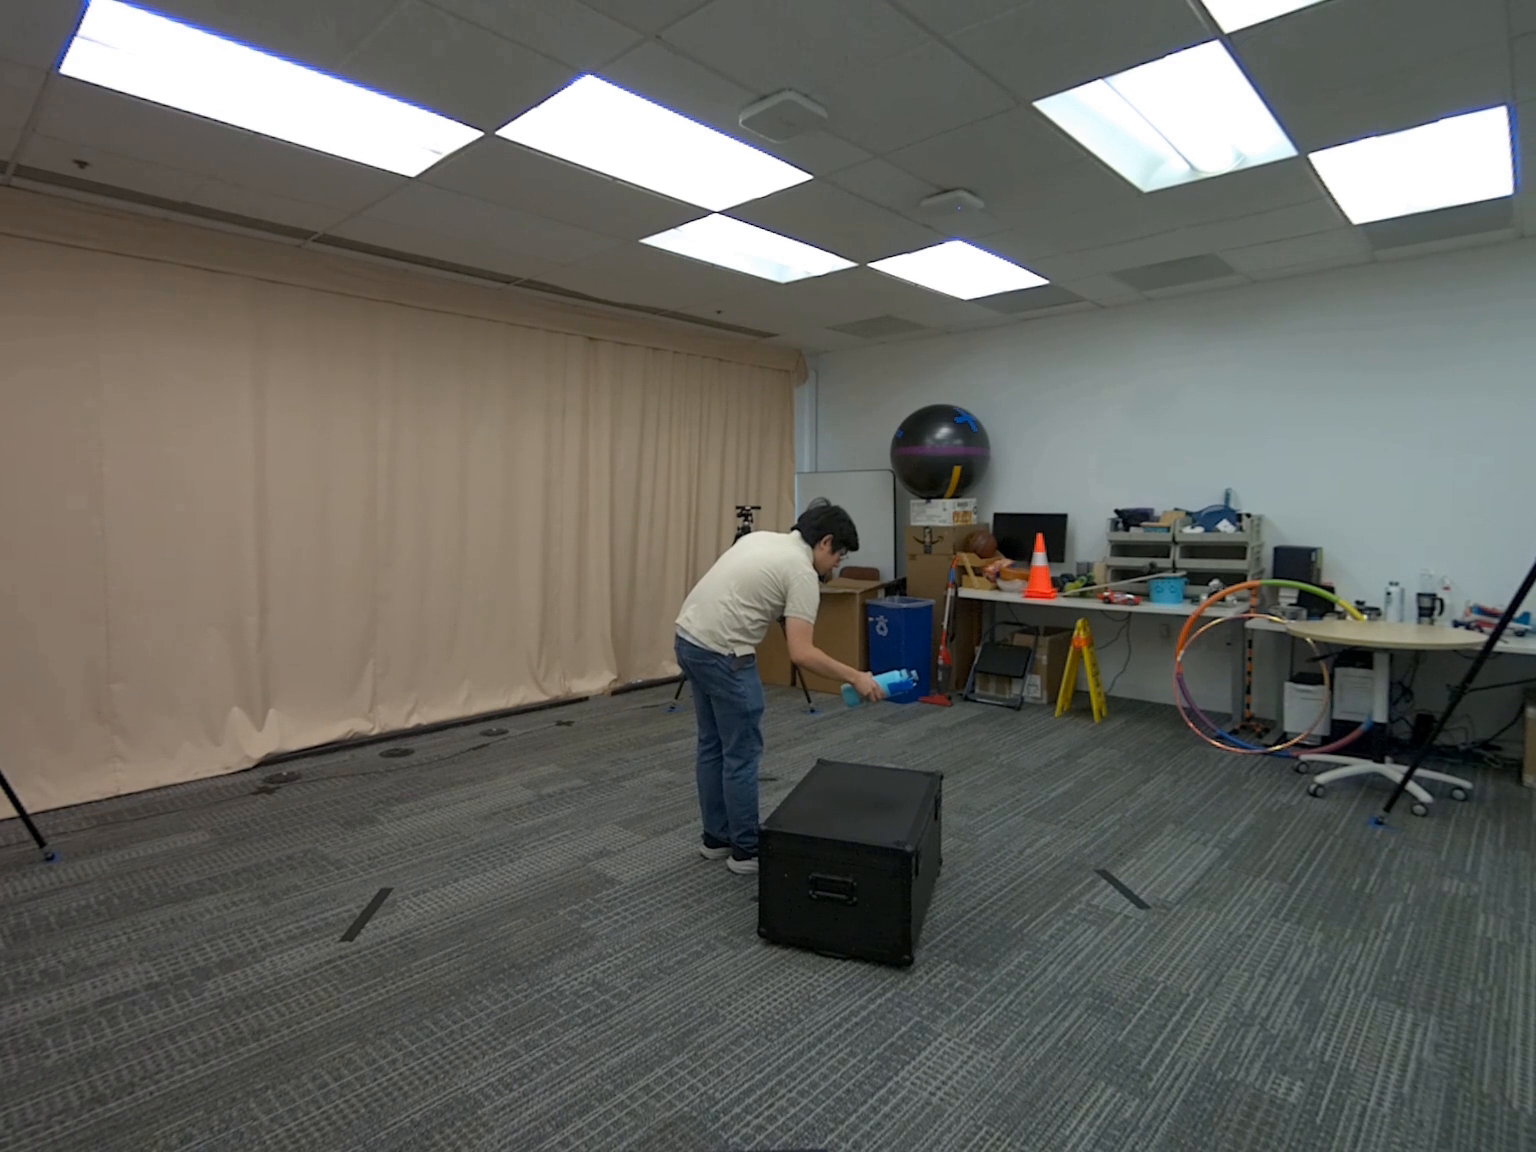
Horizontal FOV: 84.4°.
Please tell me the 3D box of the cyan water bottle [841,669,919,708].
[{"bbox_3d":[0.432,0.424,3.178,0.287,0.092,0.091,-17,0,14],"label":"cyan water bottle"}]
